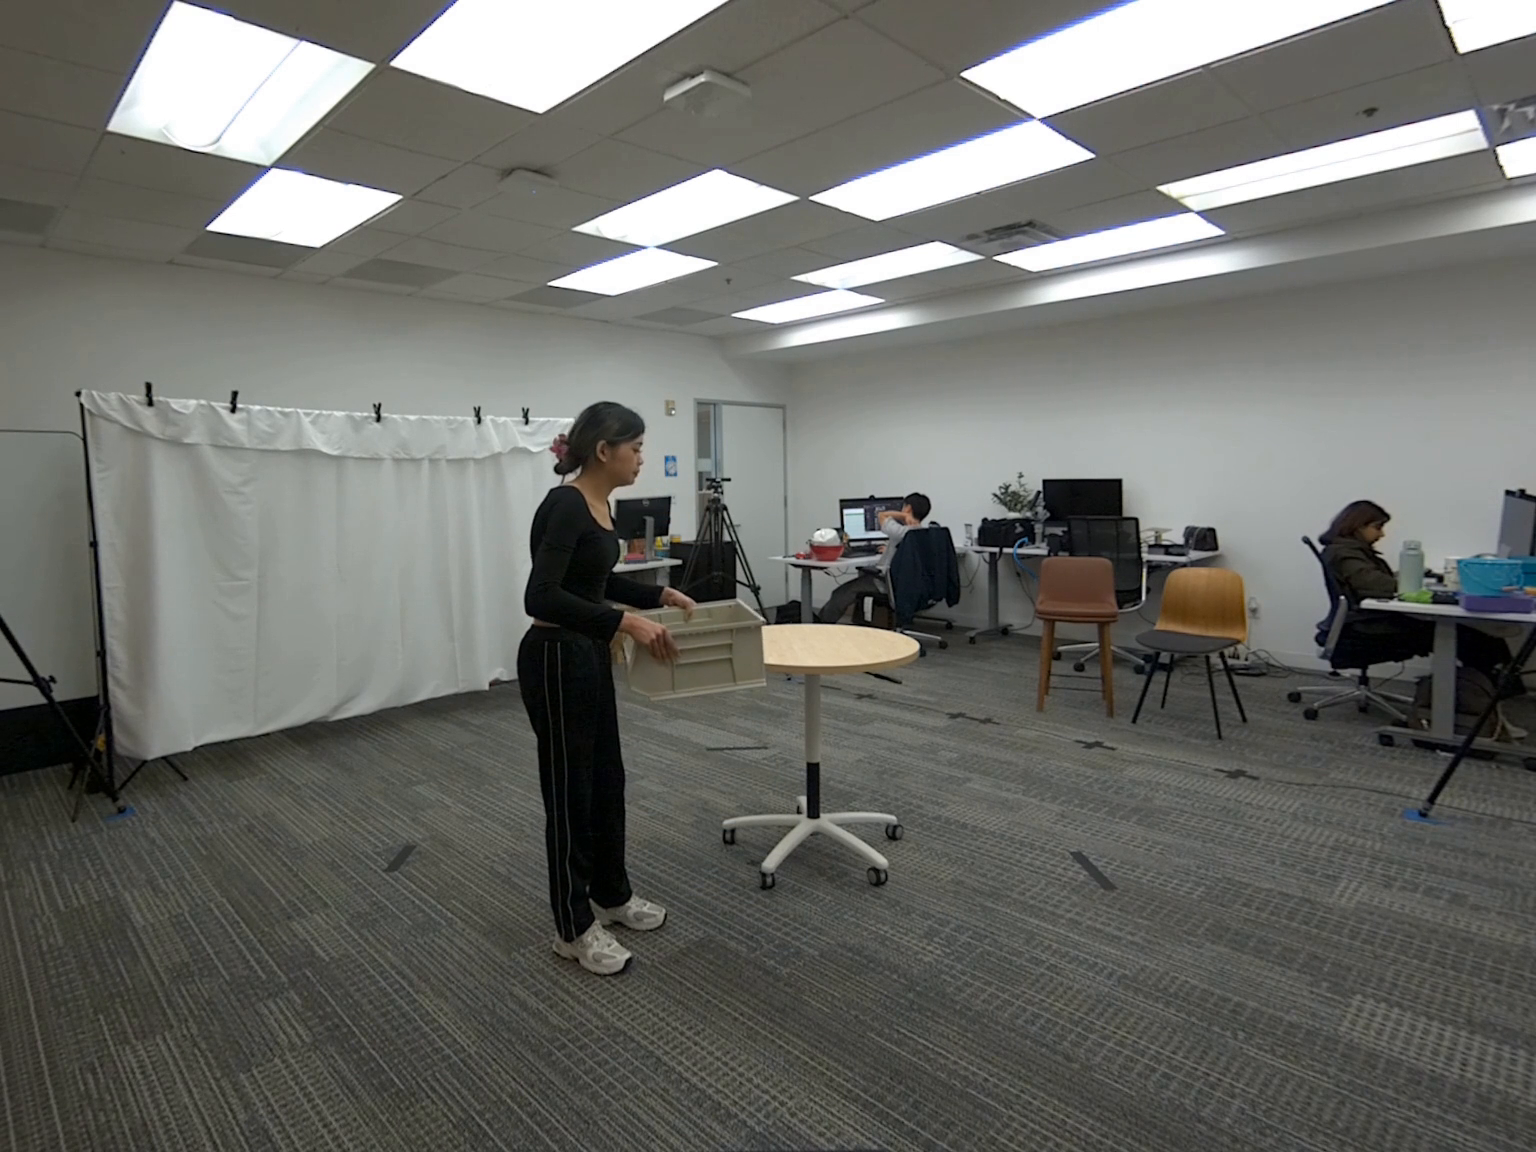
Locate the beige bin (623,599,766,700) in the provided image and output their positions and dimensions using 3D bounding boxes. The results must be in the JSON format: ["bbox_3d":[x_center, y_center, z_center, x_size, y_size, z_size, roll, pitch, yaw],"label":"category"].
[{"bbox_3d":[-0.229,0.200,2.440,0.374,0.188,0.427,-2,5,-10],"label":"beige bin"}]
